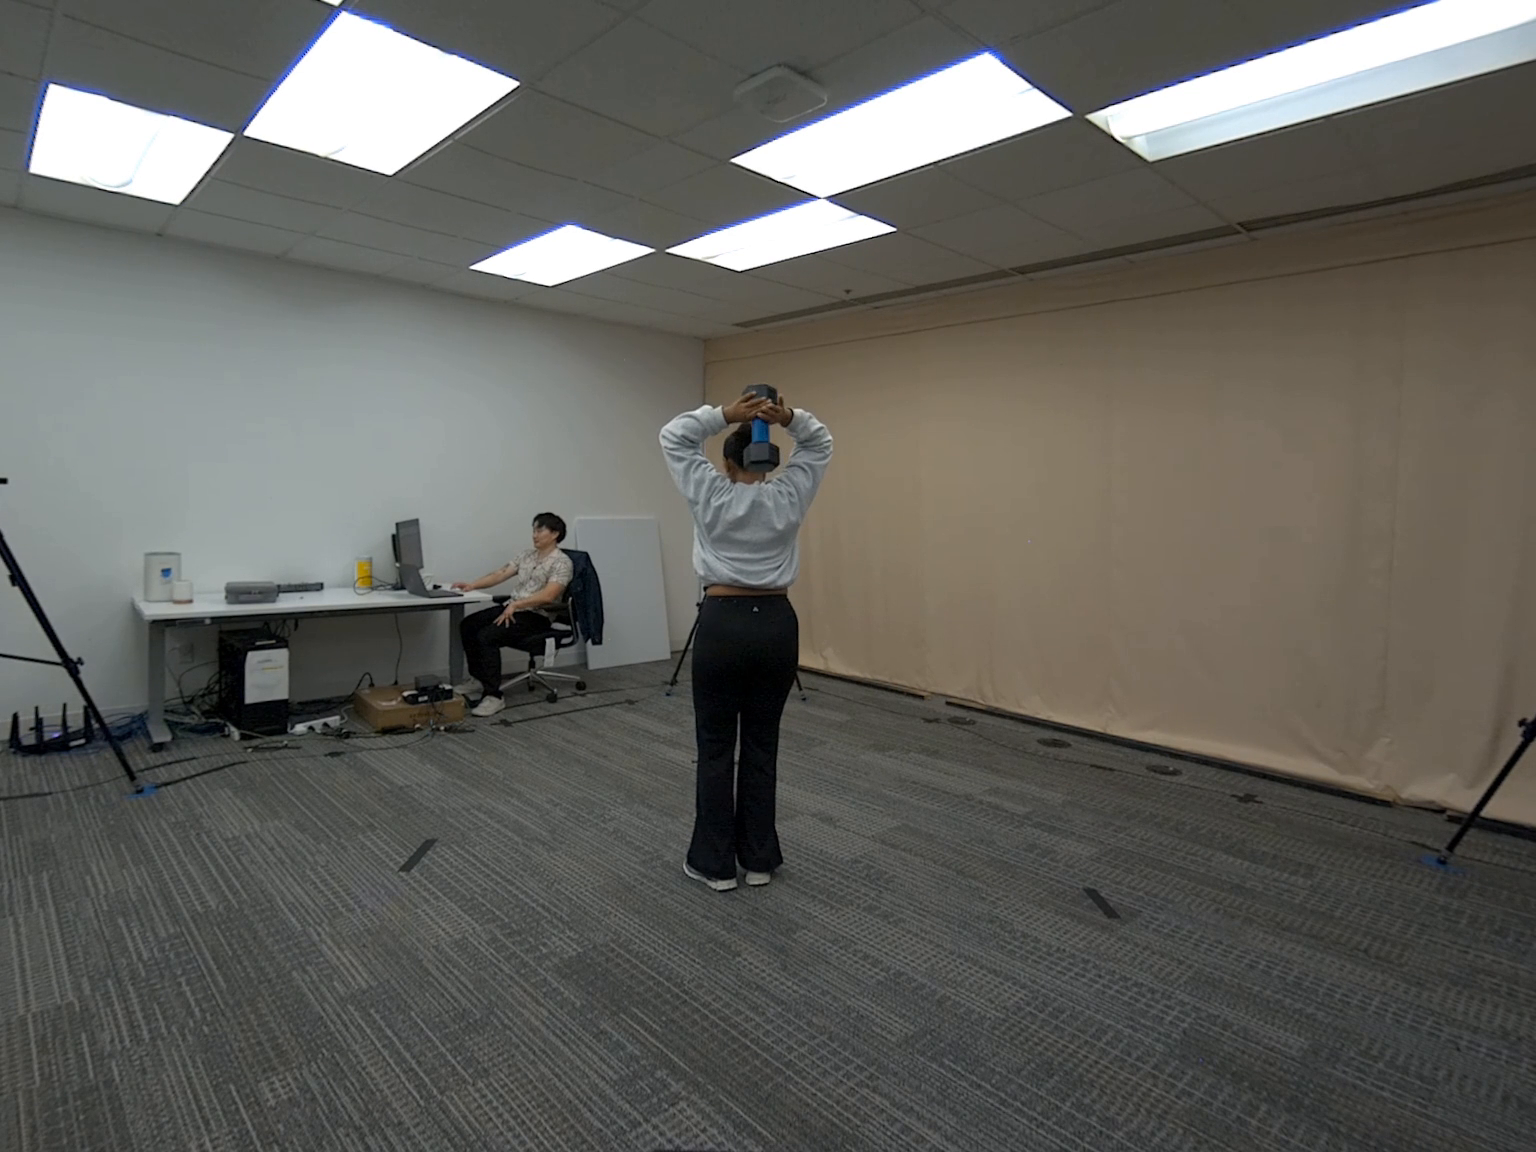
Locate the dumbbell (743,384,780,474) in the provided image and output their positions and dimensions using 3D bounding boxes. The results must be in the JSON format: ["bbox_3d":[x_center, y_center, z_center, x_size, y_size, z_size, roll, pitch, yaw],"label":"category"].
[{"bbox_3d":[-0.034,-0.500,2.844,0.110,0.297,0.119,-17,-21,35],"label":"dumbbell"}]
